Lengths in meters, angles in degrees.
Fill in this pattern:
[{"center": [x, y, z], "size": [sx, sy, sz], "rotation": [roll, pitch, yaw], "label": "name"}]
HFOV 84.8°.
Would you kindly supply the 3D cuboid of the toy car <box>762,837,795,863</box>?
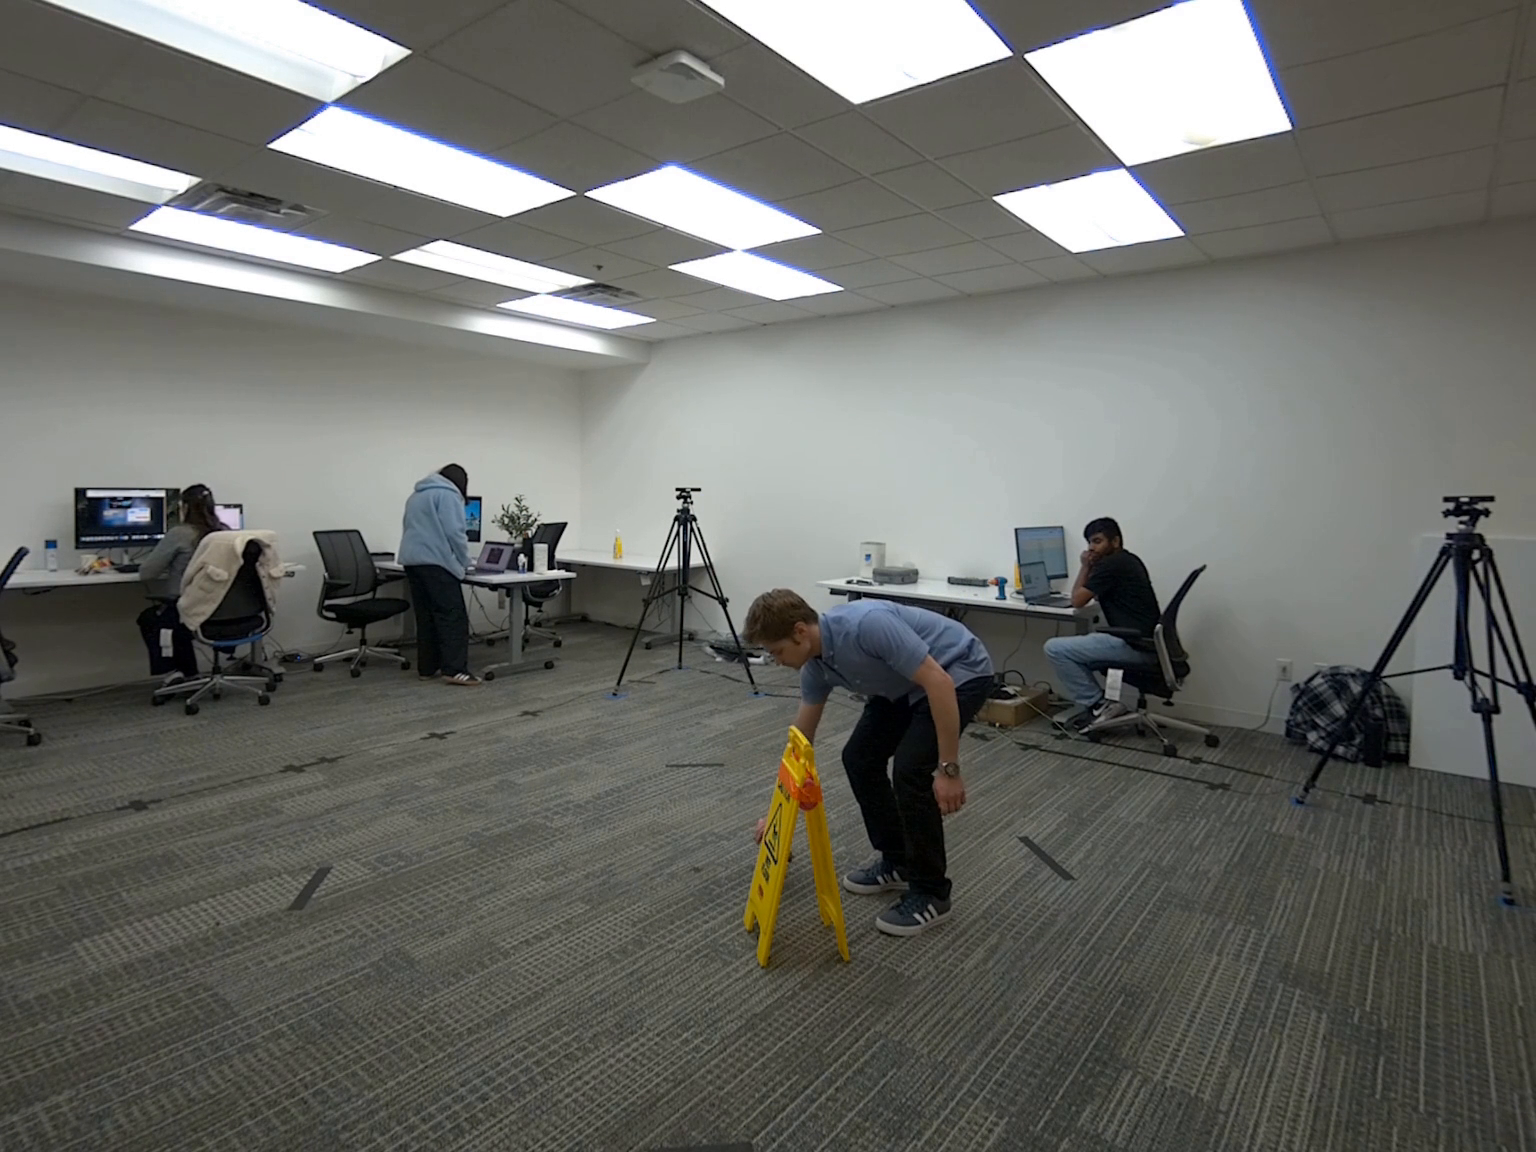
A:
[{"center": [0.018, 0.943, 3.066], "size": [0.129, 0.082, 0.261], "rotation": [-1, 19, -8], "label": "toy car"}]
